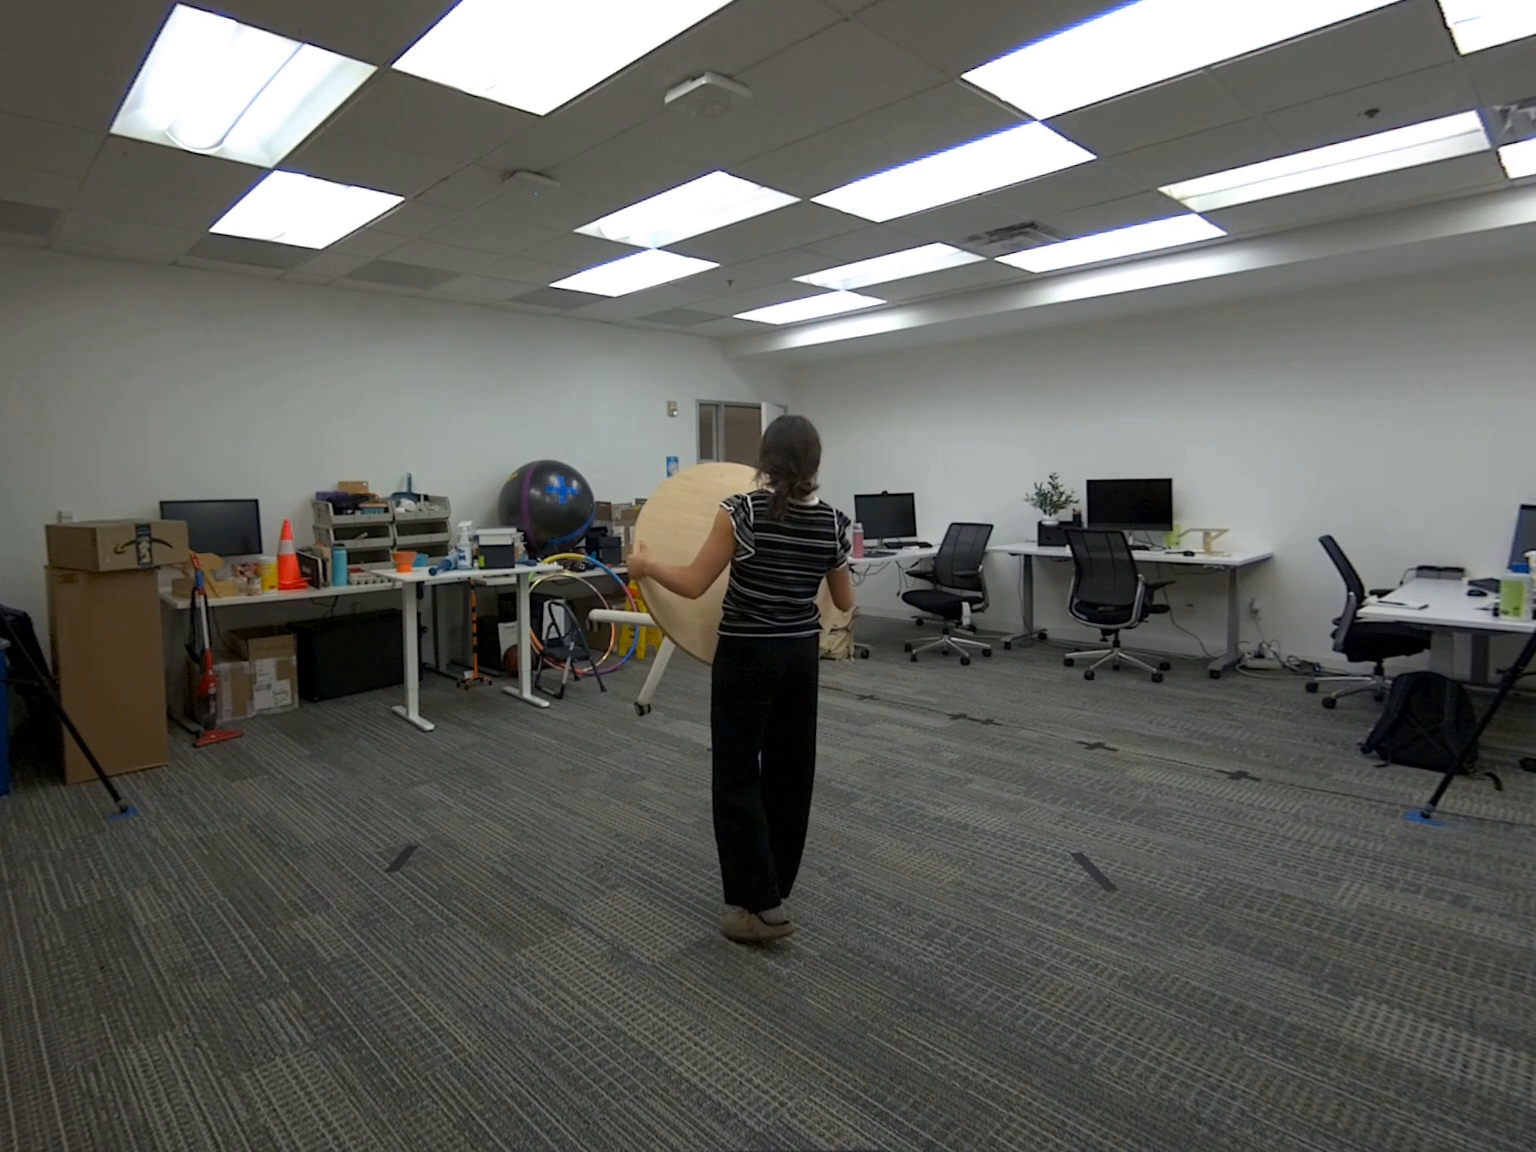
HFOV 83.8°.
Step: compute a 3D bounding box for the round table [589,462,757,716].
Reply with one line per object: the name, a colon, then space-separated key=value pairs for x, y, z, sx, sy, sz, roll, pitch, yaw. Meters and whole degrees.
round table: x=-0.260 y=0.107 z=3.229 sx=0.747 sy=0.780 sz=0.794 roll=-3 pitch=-22 yaw=-27
